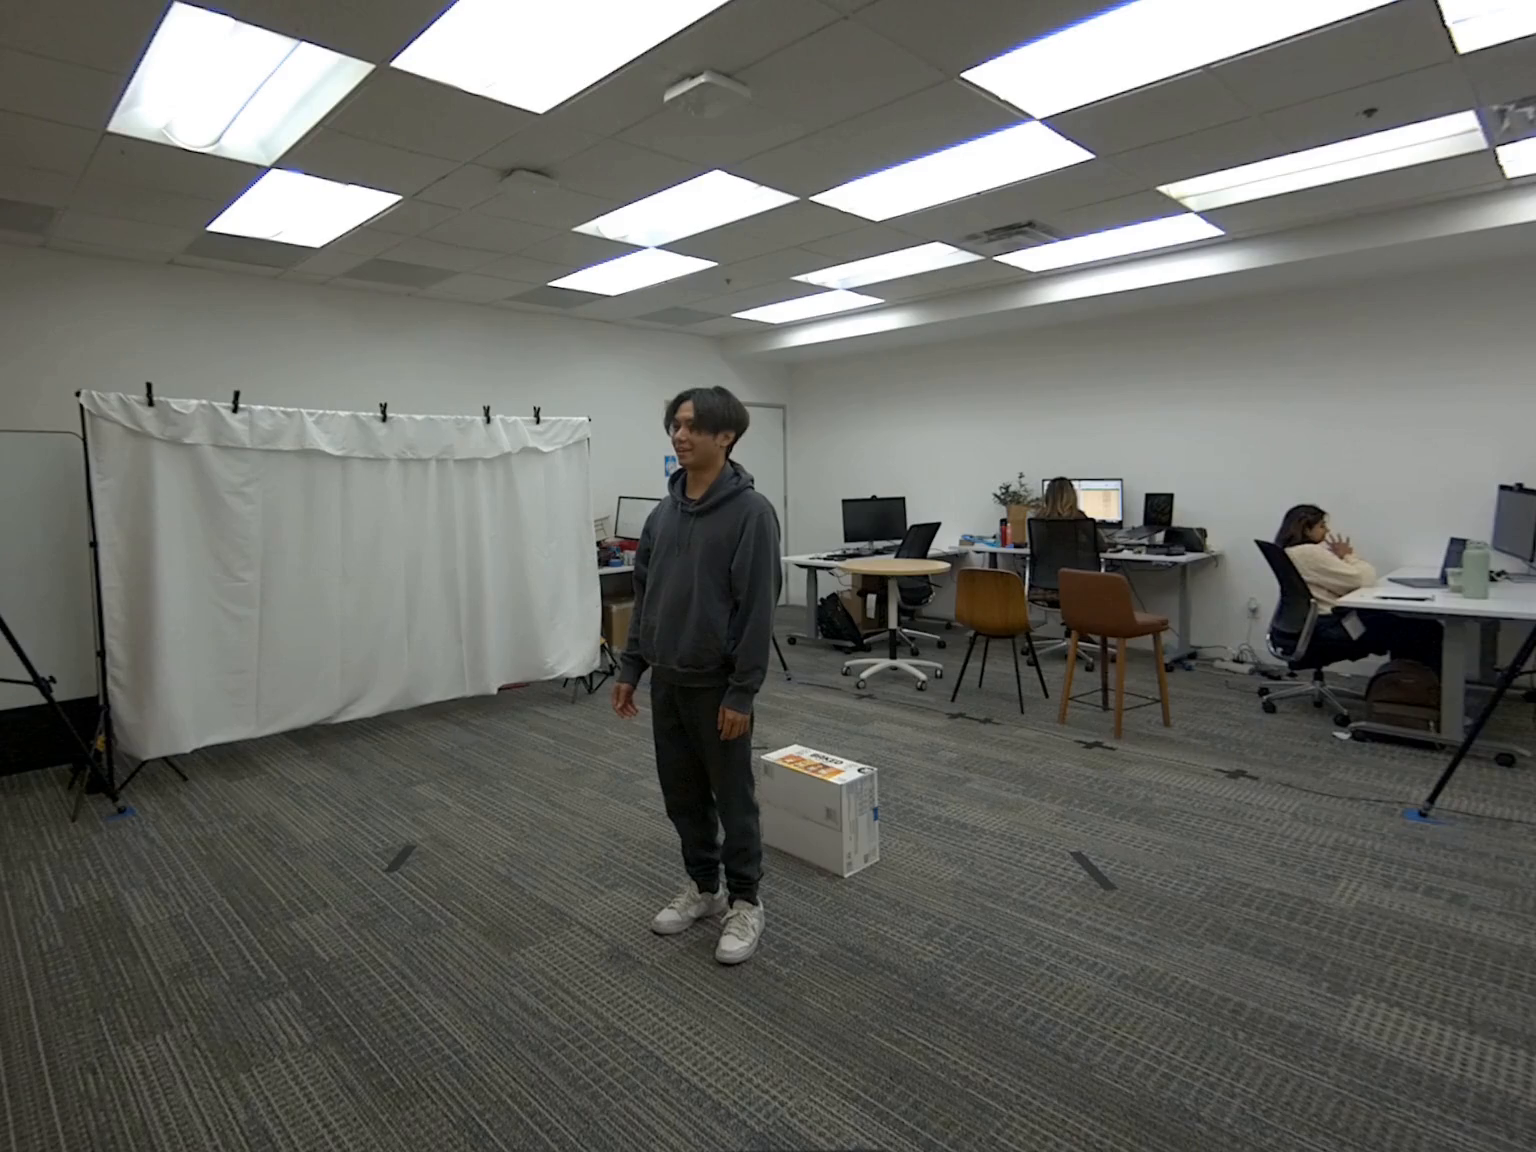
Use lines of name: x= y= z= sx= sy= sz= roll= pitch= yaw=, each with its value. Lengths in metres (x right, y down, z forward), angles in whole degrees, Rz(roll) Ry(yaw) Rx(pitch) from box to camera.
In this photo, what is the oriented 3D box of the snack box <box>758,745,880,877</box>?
snack box: x=0.191 y=0.862 z=3.179 sx=0.200 sy=0.339 sz=0.418 roll=-7 pitch=8 yaw=-43
